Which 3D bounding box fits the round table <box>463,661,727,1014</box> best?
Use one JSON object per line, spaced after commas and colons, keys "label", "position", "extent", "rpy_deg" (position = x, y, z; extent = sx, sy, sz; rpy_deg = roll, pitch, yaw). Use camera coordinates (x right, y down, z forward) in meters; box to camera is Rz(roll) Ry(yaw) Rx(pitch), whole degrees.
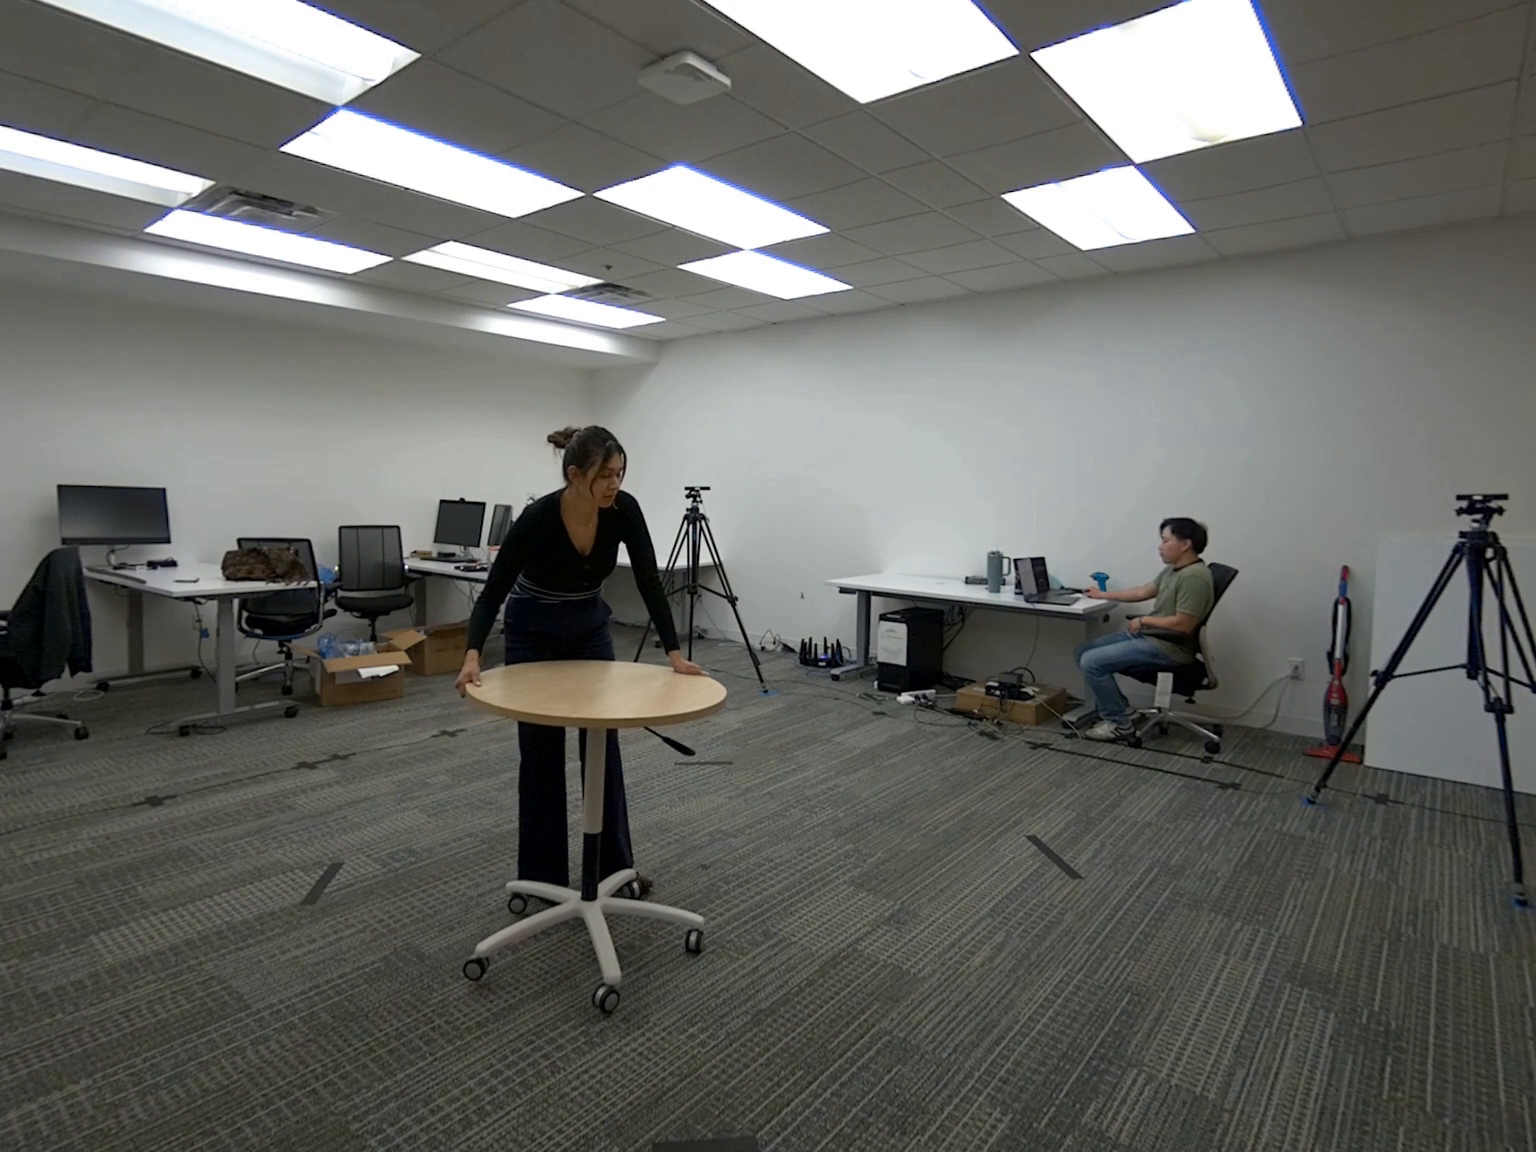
{"label": "round table", "position": [-0.529, 0.718, 2.546], "extent": [0.763, 0.792, 0.767], "rpy_deg": [3, 3, -2]}
